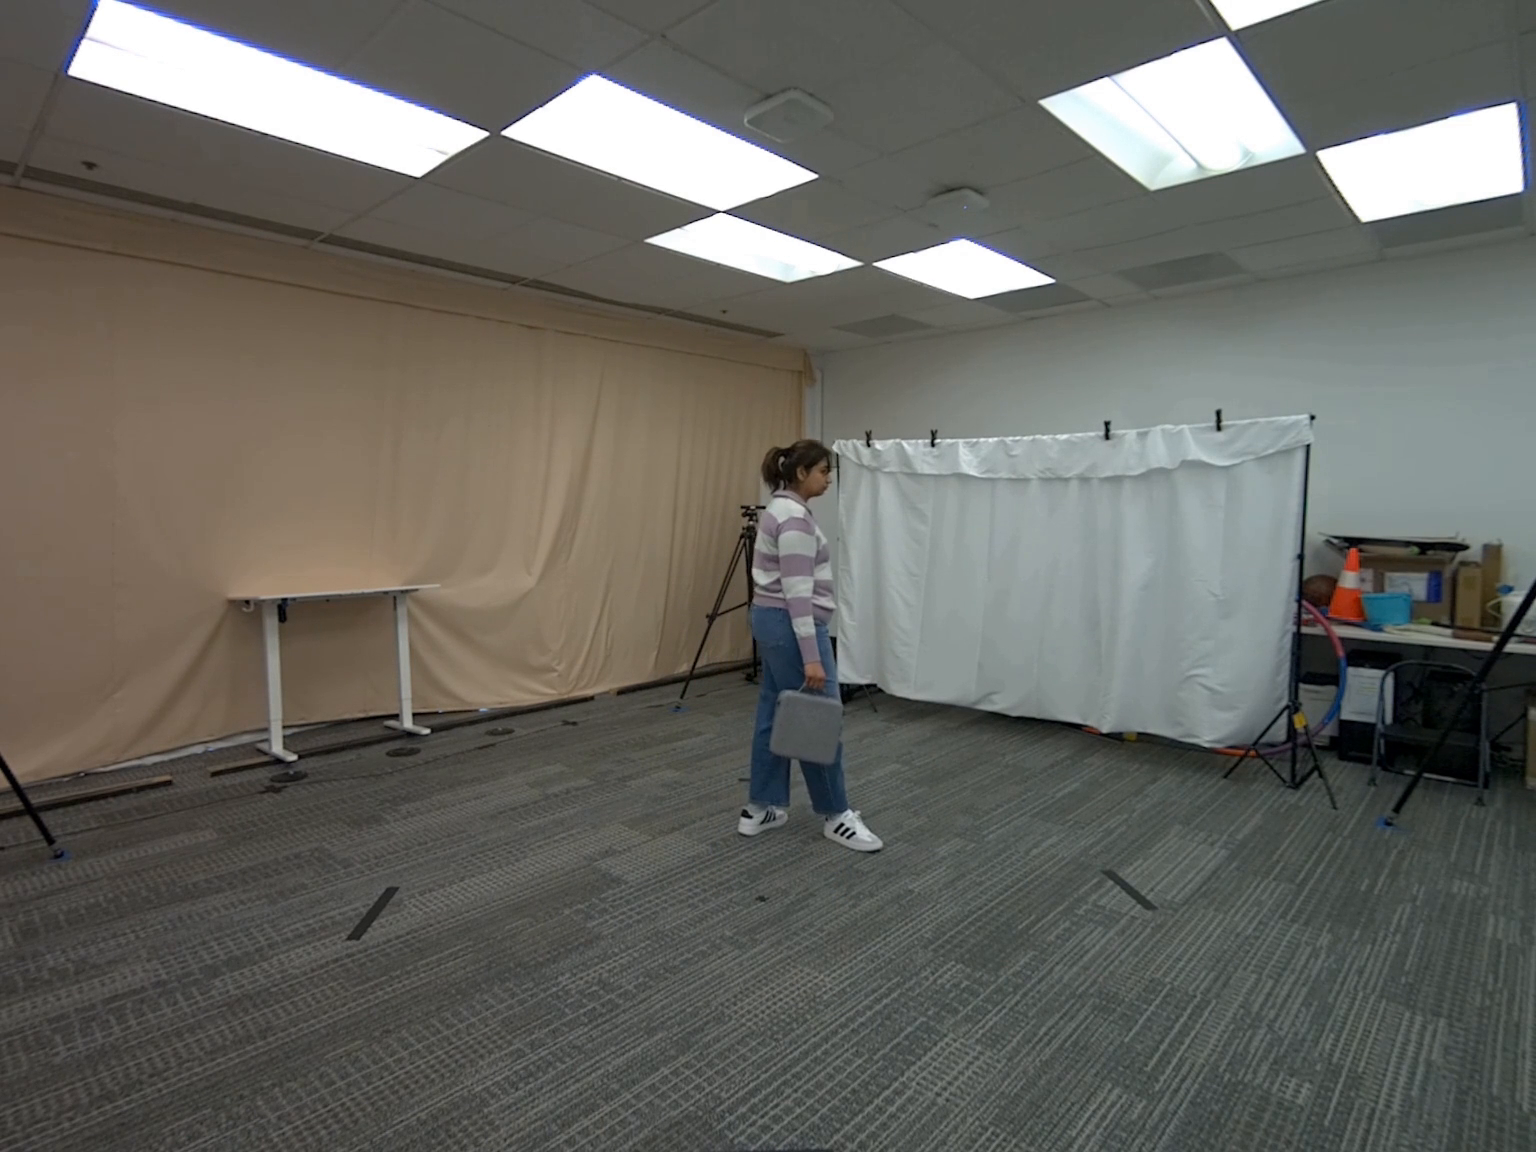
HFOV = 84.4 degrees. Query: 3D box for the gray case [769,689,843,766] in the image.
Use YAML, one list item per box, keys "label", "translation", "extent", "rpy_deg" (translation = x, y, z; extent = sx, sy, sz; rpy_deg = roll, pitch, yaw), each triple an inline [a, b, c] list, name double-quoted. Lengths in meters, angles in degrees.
- label: "gray case"
  translation: [0.169, 0.581, 3.277]
  extent: [0.257, 0.261, 0.104]
  rpy_deg: [11, -2, -1]
